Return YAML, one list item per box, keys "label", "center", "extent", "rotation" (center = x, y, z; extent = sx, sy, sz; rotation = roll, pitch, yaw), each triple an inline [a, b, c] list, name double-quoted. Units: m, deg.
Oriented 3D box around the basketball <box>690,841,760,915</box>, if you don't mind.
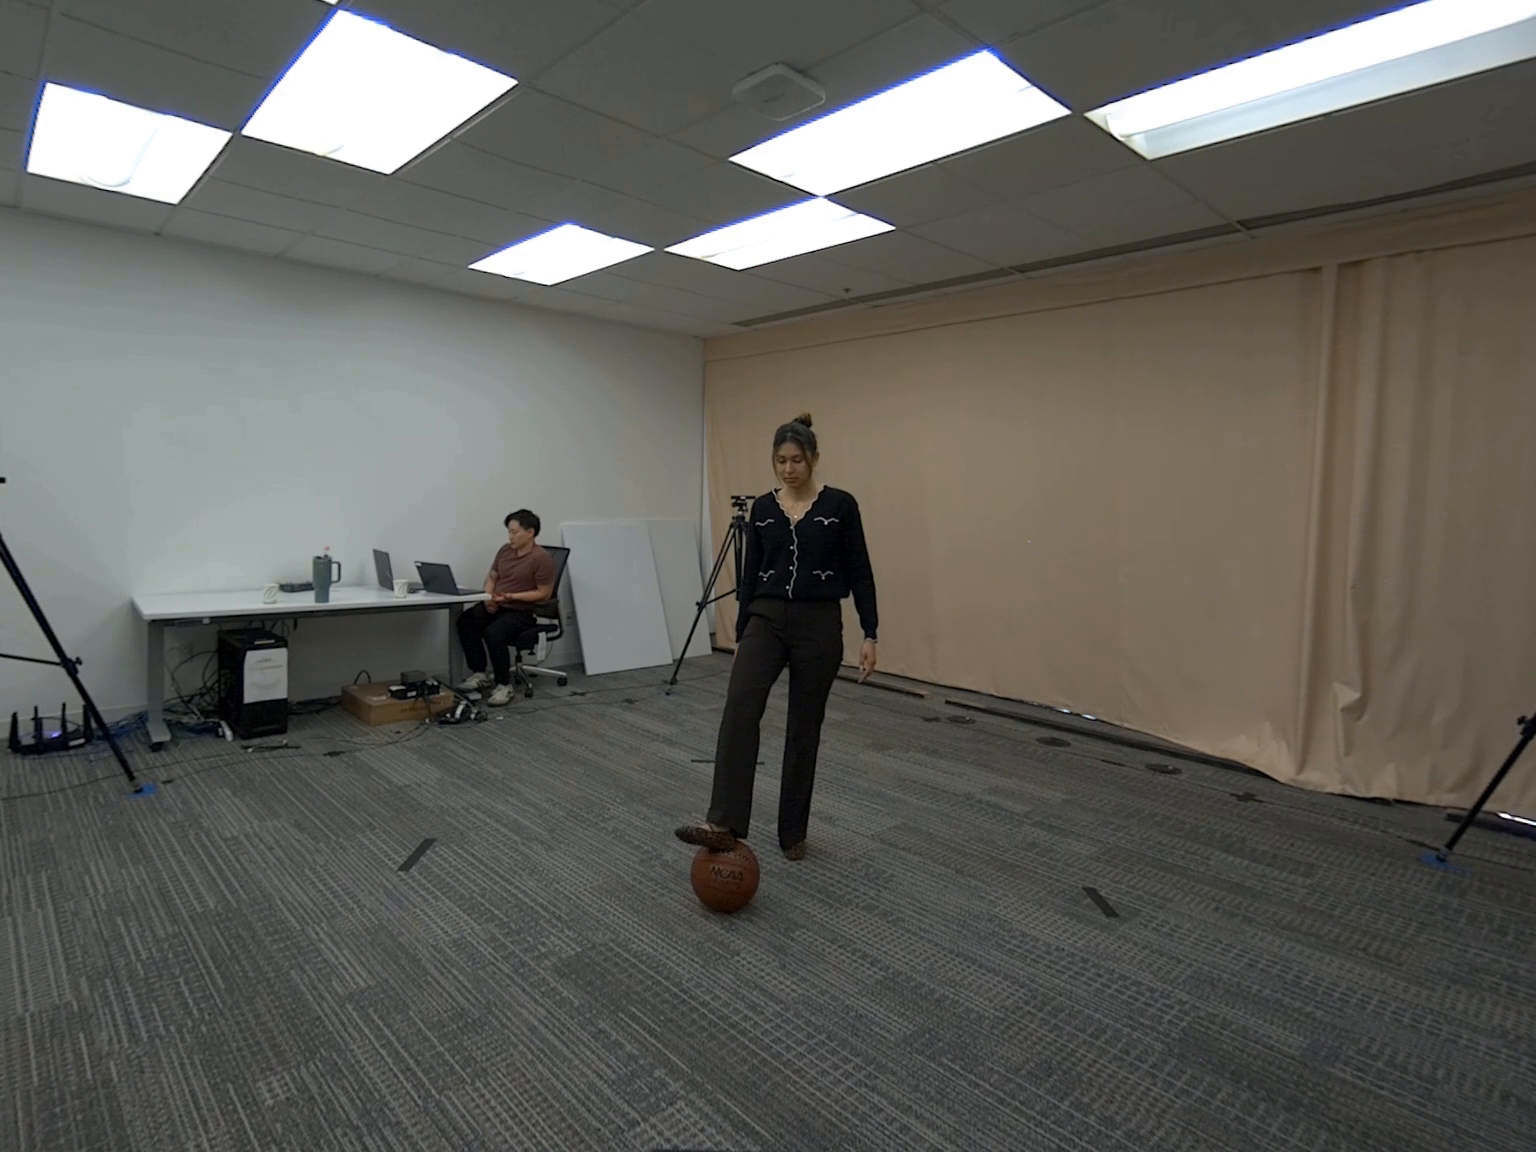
- label: "basketball"
  center: [-0.148, 1.013, 2.860]
  extent: [0.236, 0.235, 0.237]
  rotation: [1, 4, -1]
